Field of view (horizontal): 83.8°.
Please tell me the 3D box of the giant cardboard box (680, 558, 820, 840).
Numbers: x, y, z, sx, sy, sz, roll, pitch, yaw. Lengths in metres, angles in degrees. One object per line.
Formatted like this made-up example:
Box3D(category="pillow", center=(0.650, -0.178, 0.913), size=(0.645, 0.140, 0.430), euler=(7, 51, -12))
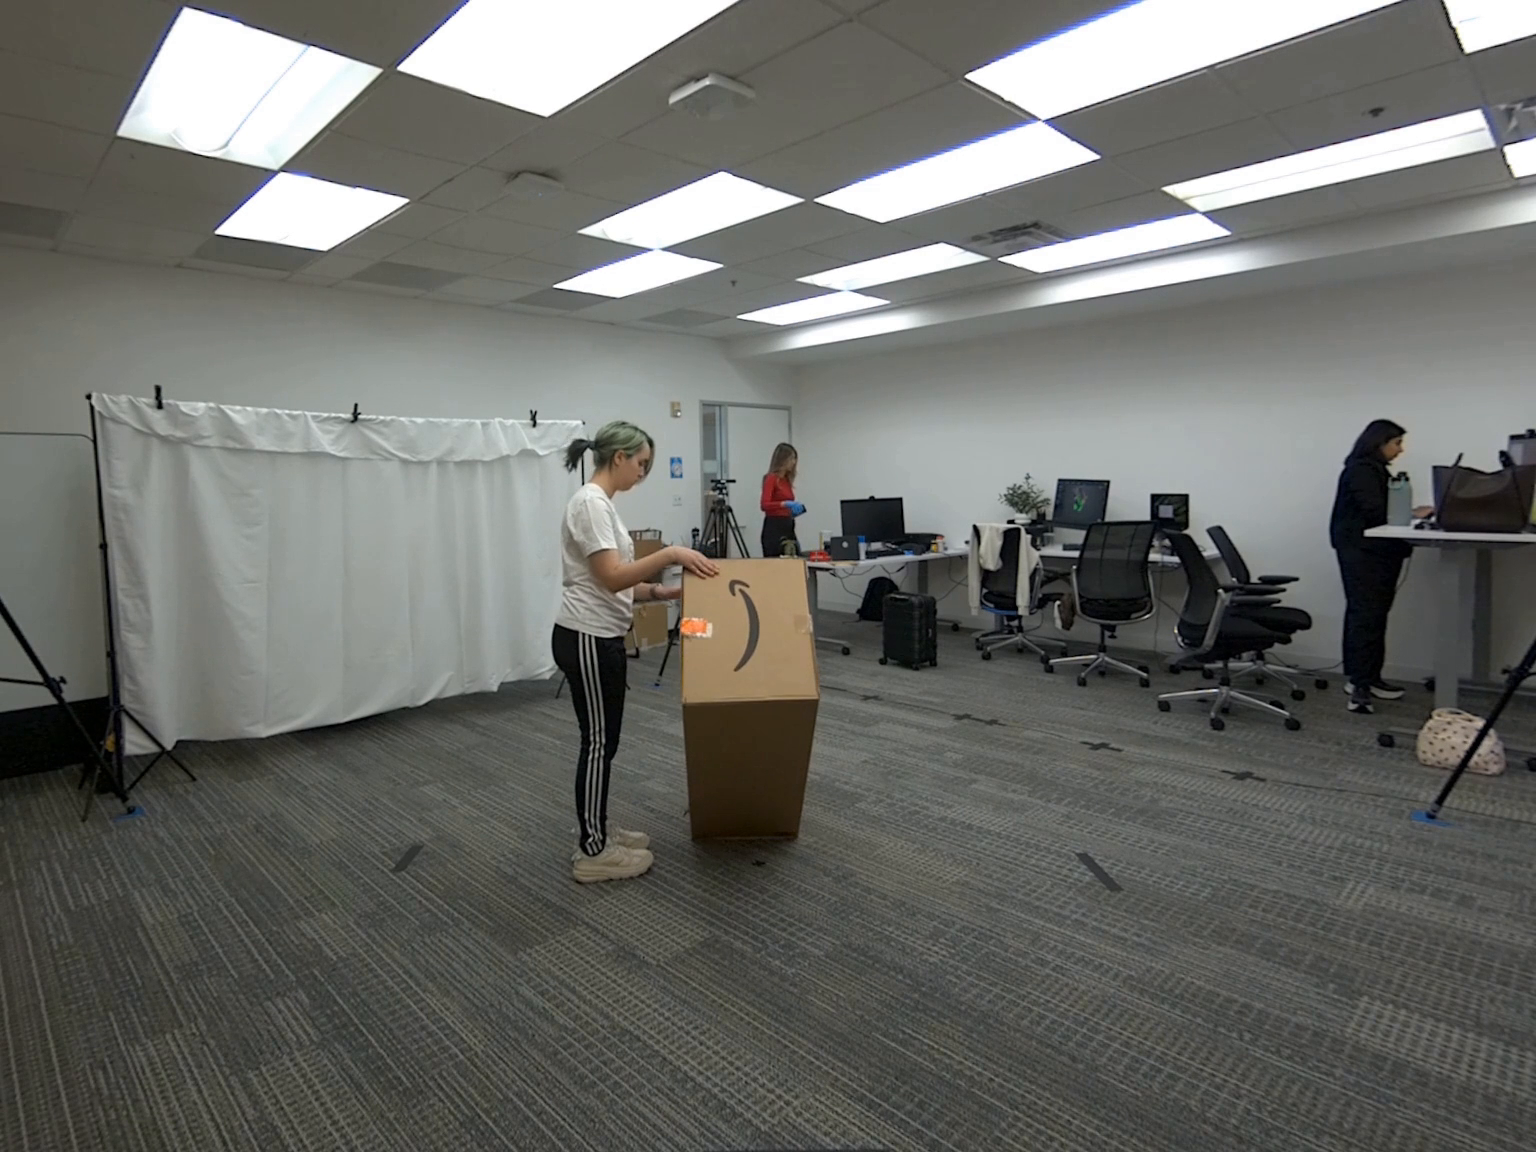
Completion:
Box3D(category="giant cardboard box", center=(-0.086, 0.485, 3.146), size=(0.425, 0.594, 0.999), euler=(0, -41, -3))
